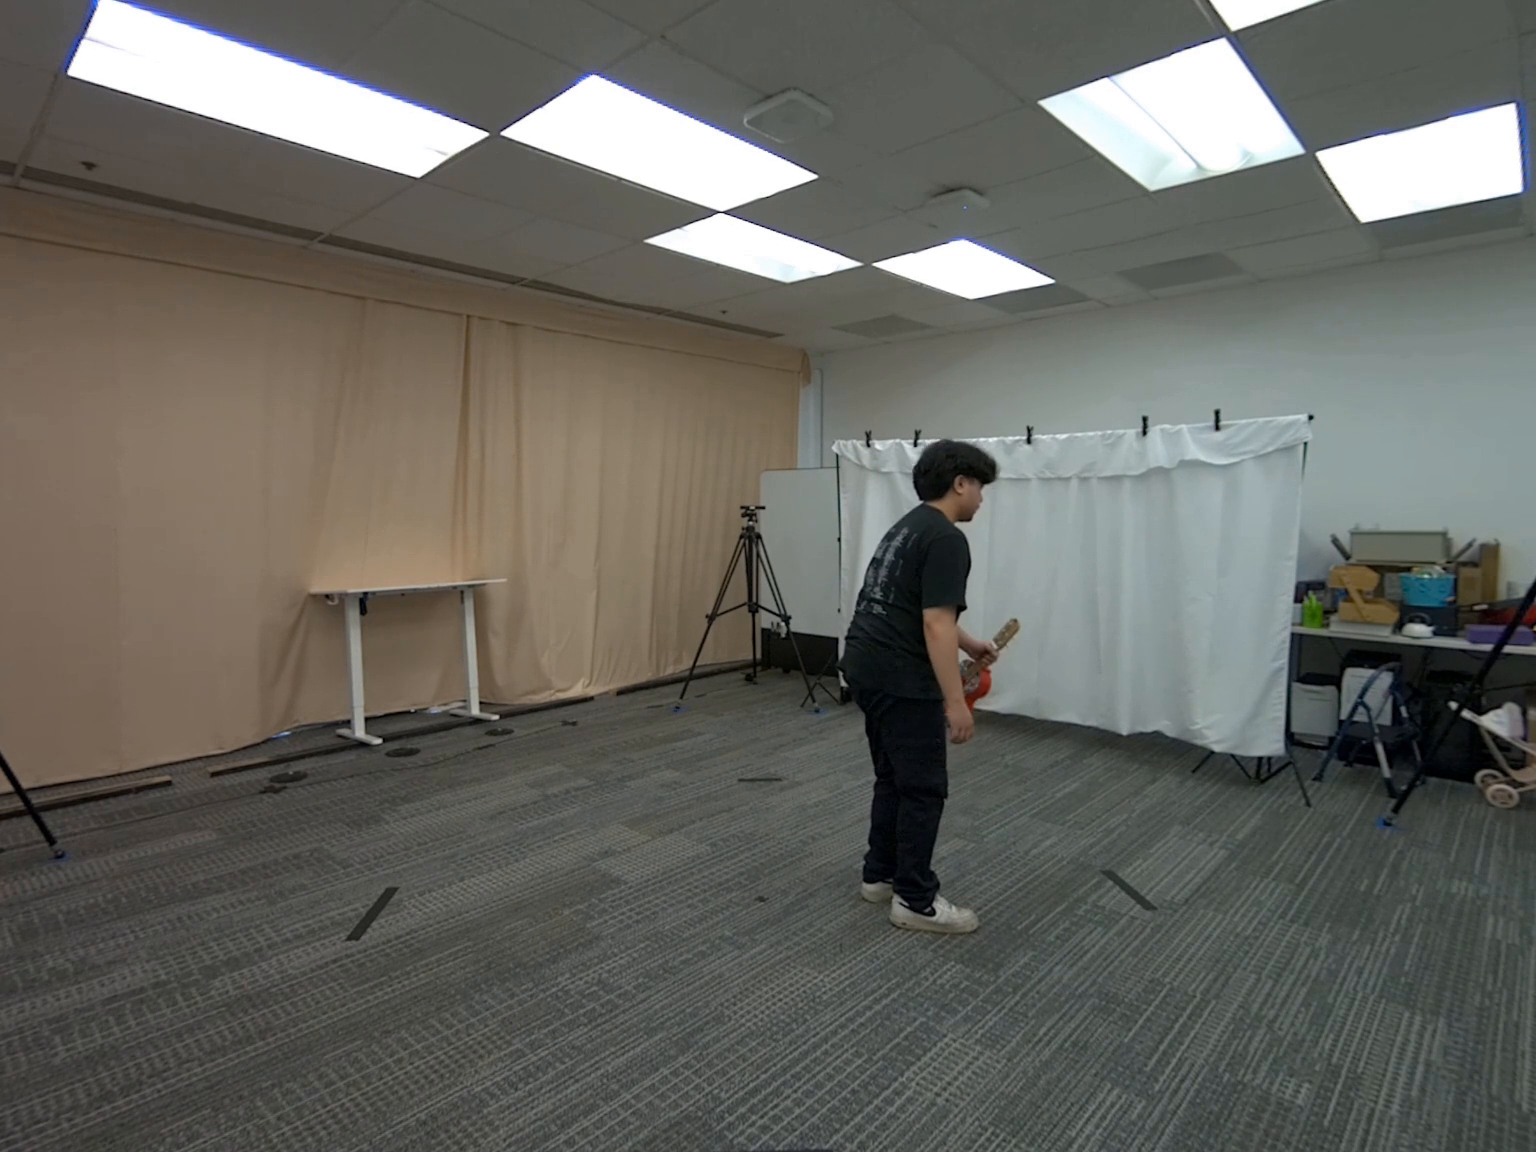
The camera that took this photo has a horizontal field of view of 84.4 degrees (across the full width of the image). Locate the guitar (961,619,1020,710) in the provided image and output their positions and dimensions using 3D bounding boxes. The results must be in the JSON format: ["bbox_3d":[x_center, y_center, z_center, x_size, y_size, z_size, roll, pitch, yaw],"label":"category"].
[{"bbox_3d":[0.796,0.384,3.132,0.068,0.500,0.198,22,34,-29],"label":"guitar"}]
